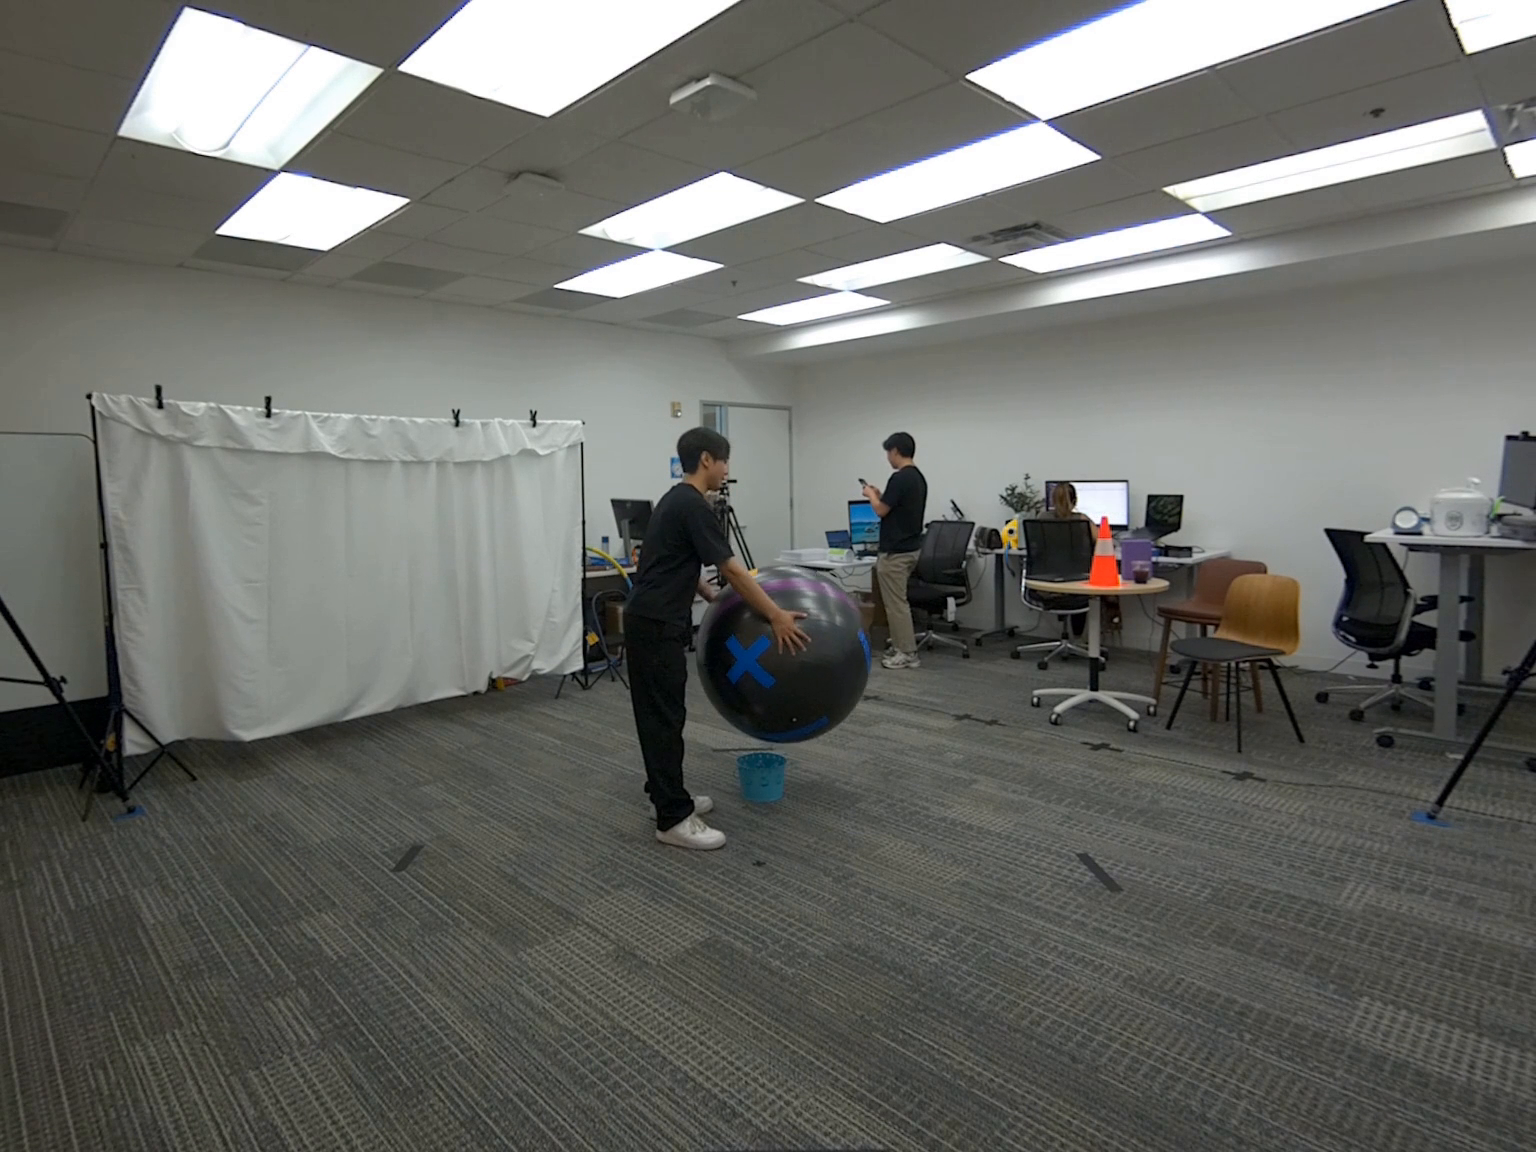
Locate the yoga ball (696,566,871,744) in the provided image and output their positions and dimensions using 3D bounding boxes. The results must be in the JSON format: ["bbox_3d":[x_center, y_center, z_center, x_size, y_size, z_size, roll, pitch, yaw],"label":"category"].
[{"bbox_3d":[0.070,0.344,3.704,0.757,0.755,0.762,-1,5,-2],"label":"yoga ball"}]
